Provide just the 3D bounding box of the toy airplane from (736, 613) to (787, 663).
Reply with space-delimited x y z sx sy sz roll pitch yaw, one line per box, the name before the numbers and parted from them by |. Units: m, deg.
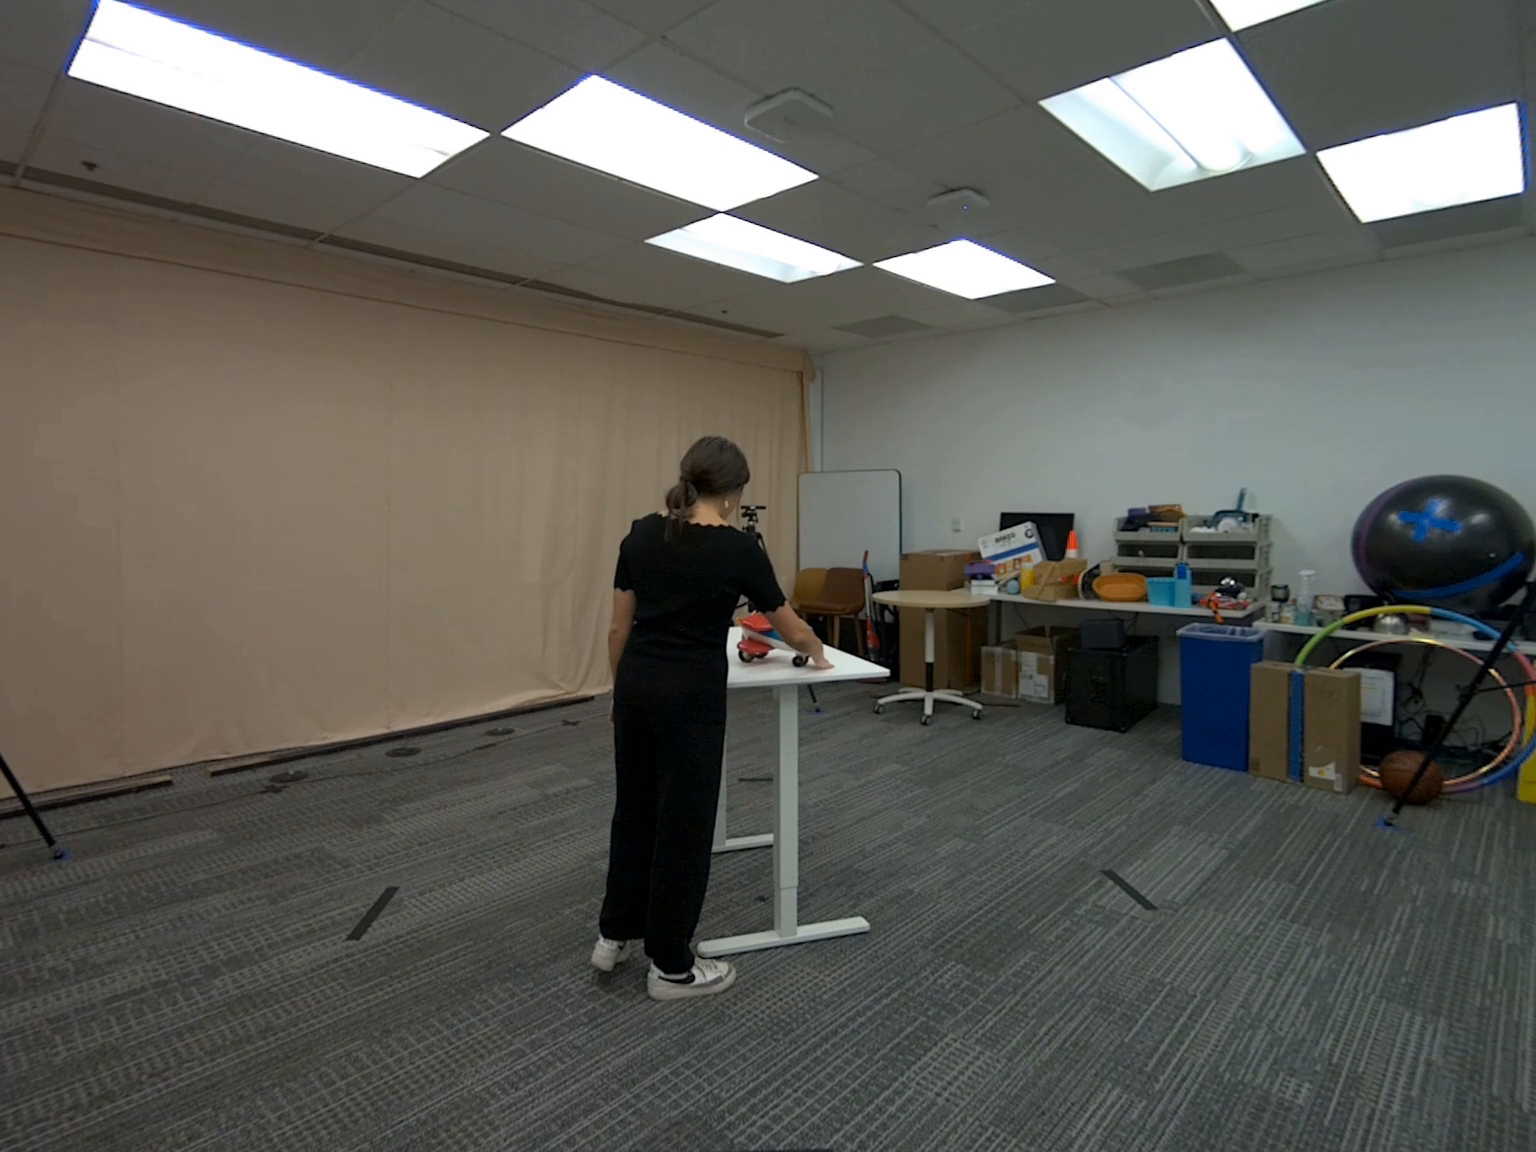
toy airplane | 0.035 0.206 2.757 0.260 0.156 0.251 -1 5 4
